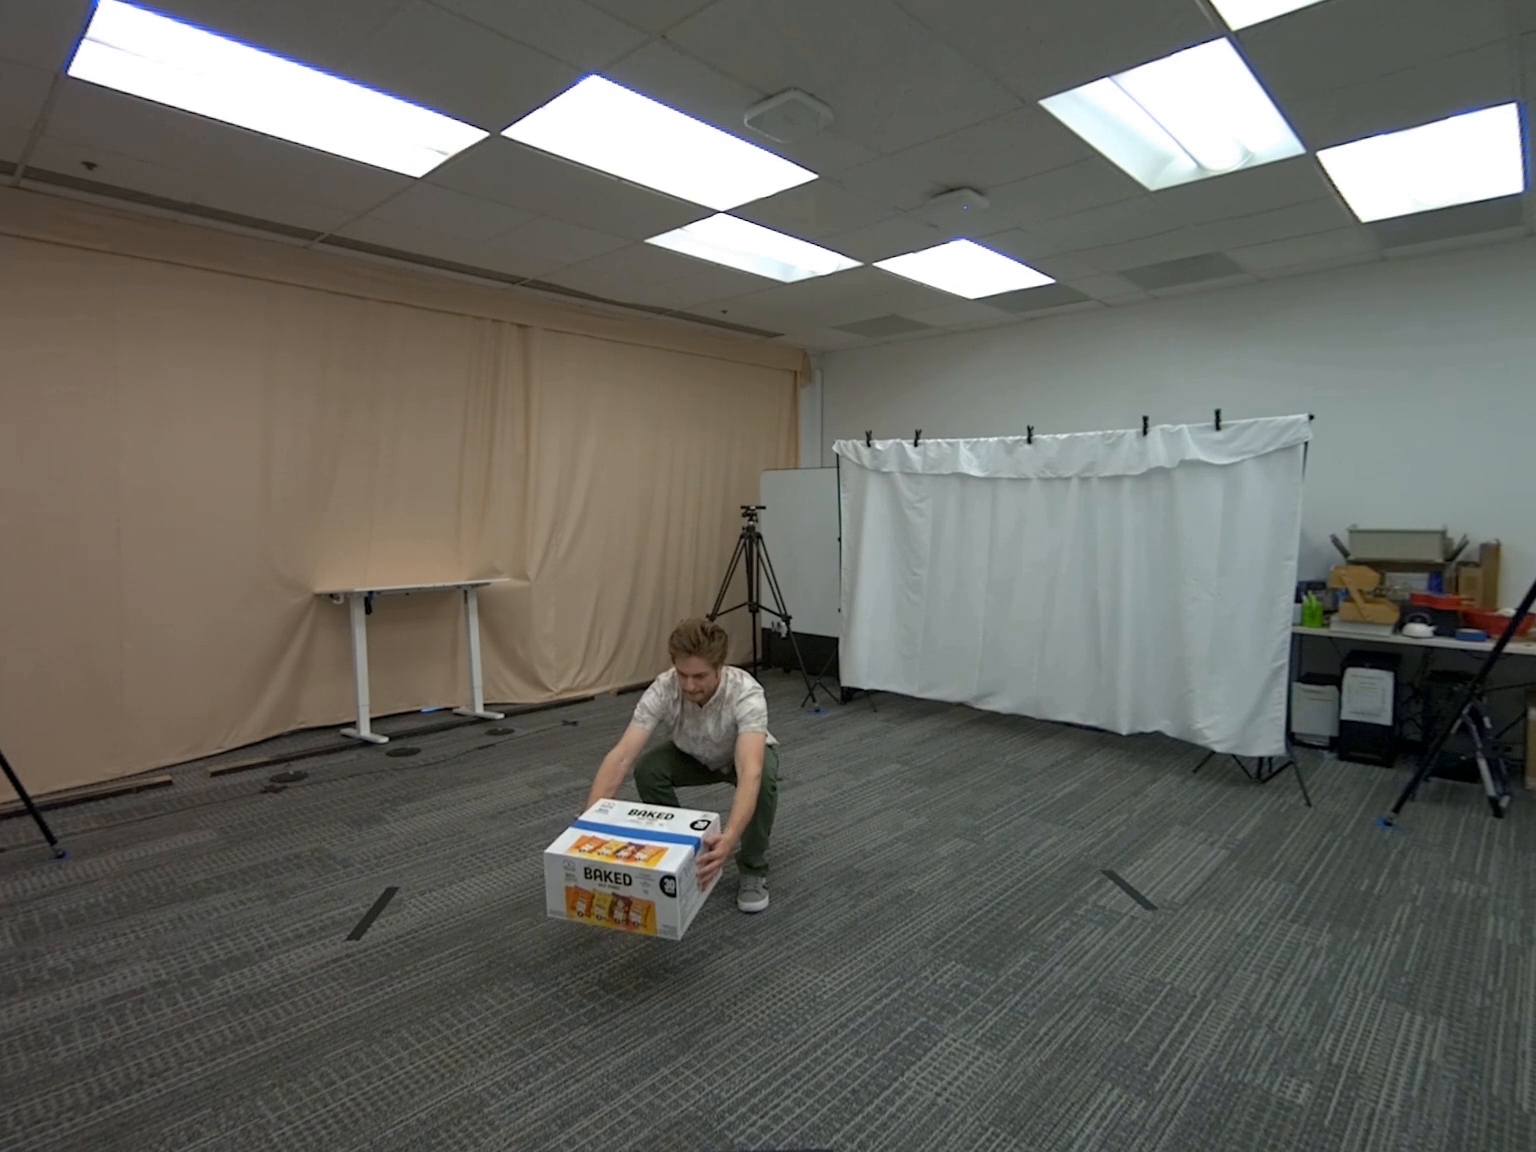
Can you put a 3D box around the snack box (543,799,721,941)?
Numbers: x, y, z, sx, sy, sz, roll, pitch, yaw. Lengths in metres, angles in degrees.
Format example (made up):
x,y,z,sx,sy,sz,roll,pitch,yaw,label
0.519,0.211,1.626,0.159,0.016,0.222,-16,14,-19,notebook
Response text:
x,y,z,sx,sy,sz,roll,pitch,yaw,label
-0.383,0.827,2.453,0.413,0.204,0.336,1,11,18,snack box
